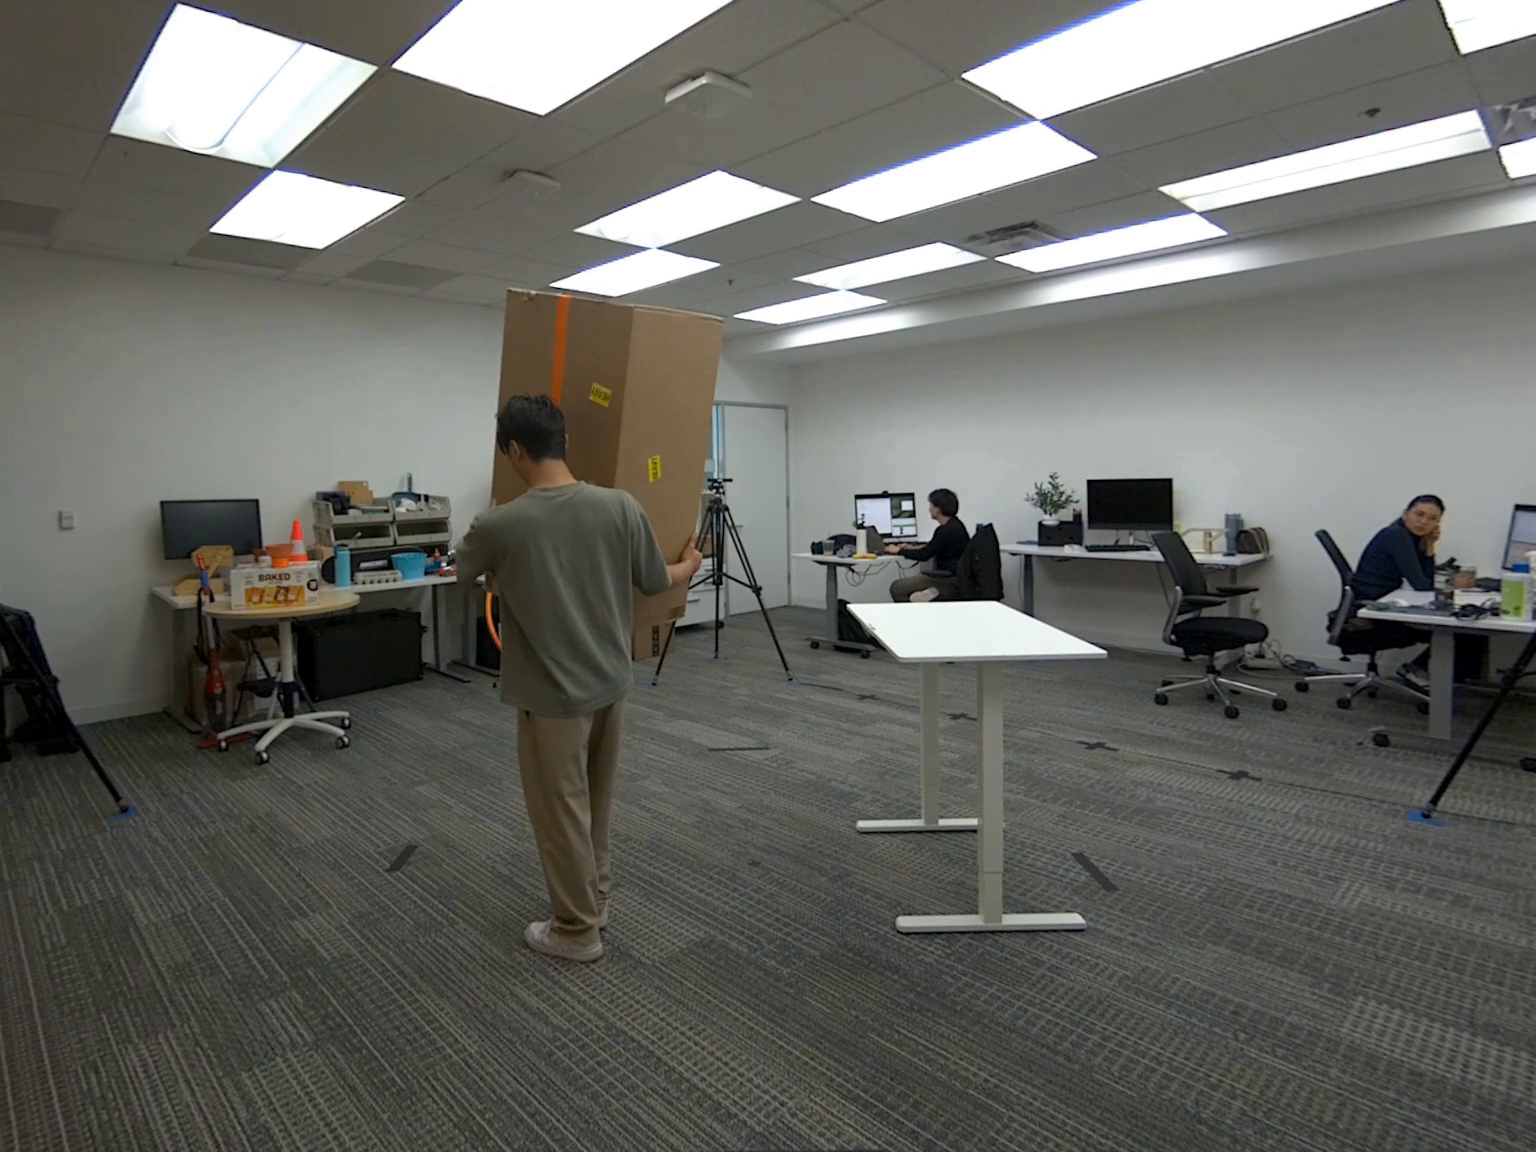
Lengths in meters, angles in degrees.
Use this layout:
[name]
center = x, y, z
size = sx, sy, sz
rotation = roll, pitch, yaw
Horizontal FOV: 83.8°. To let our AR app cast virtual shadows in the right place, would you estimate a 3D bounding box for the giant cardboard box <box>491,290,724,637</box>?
[giant cardboard box]
center = -0.564, -0.382, 2.848
size = 0.597, 1.015, 0.416
rotation = 19, 17, 34
